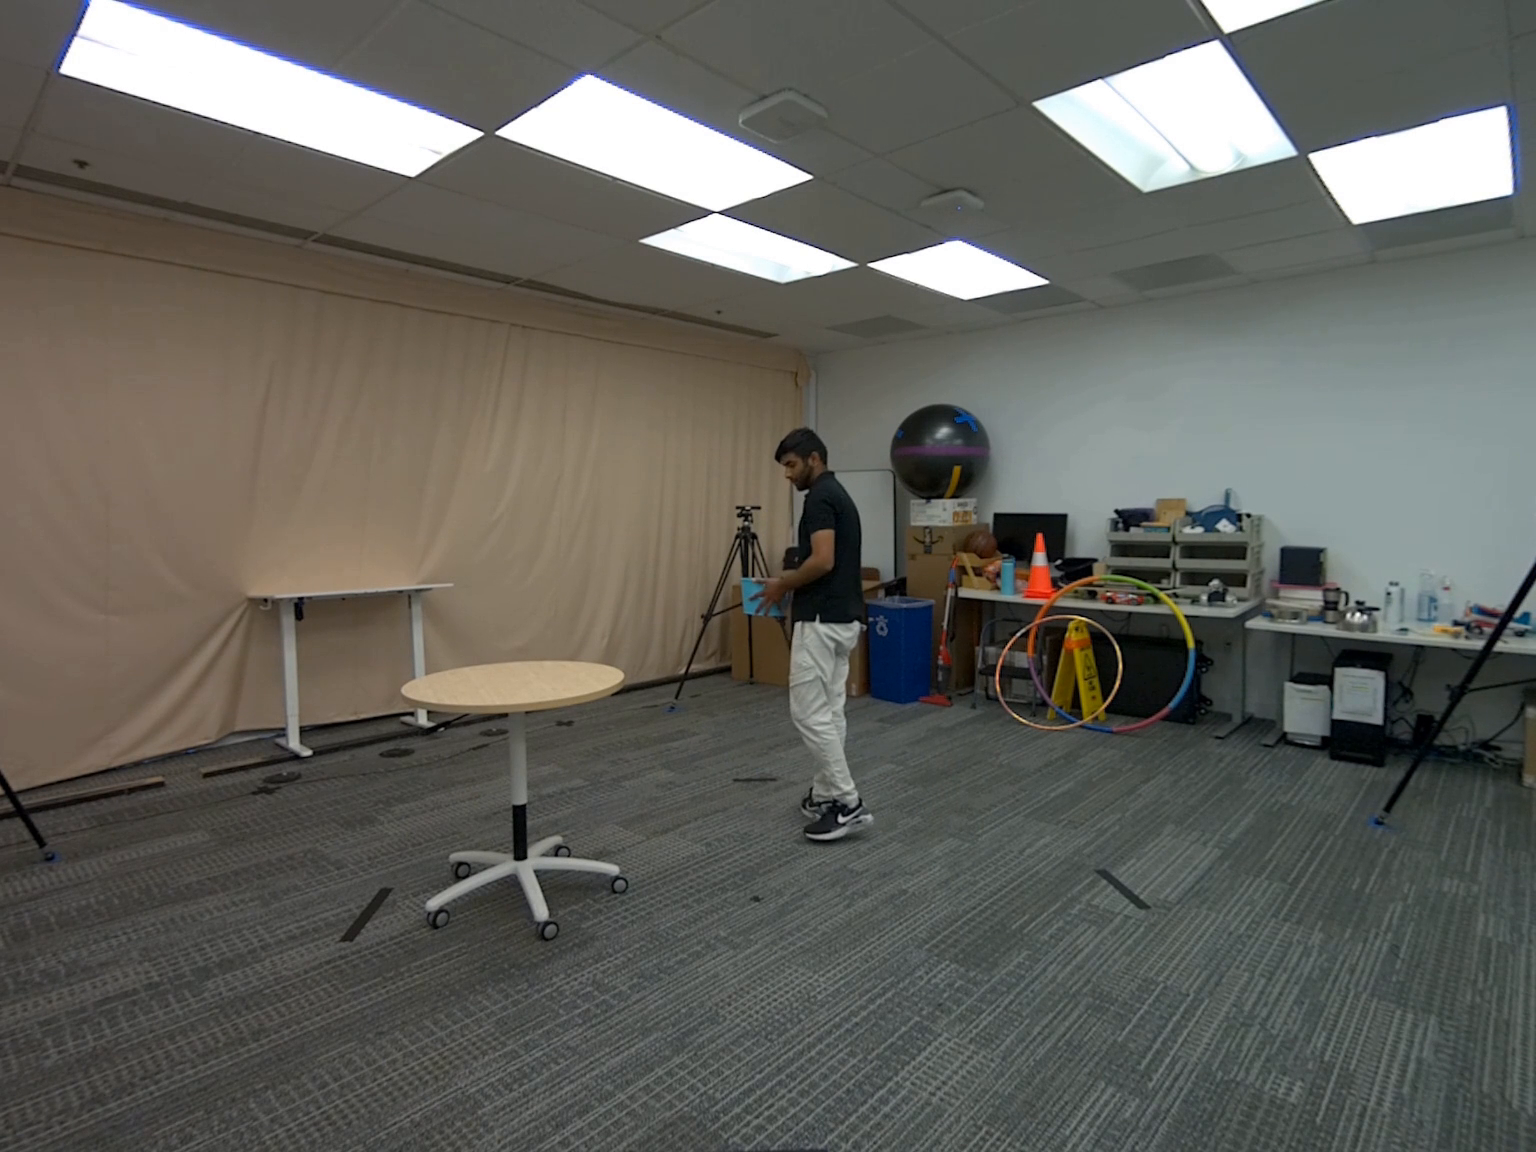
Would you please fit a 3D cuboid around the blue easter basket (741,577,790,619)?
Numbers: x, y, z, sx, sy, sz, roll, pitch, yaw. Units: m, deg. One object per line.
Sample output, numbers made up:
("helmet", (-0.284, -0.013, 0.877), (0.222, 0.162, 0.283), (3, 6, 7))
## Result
("blue easter basket", (-0.001, 0.097, 3.794), (0.243, 0.156, 0.244), (3, 3, -2))
